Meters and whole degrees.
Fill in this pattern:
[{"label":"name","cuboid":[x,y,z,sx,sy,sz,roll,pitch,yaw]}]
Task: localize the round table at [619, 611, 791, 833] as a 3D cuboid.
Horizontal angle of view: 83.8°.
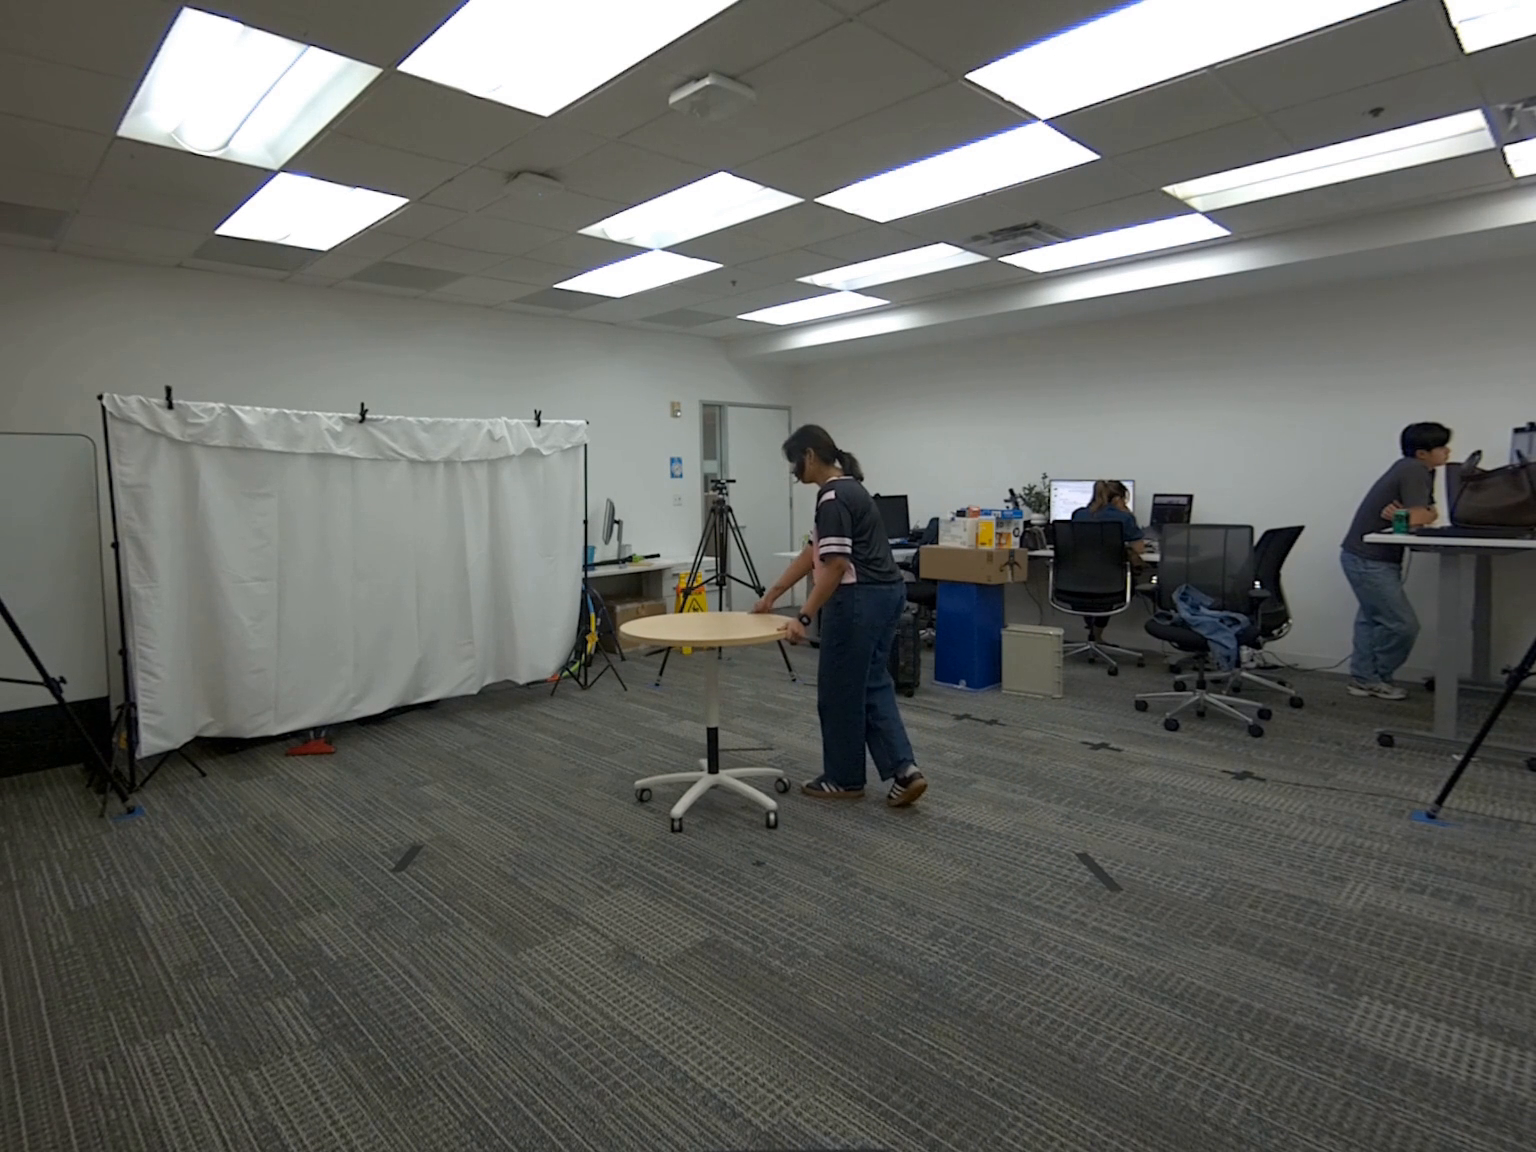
[{"label":"round table","cuboid":[-0.225,0.594,3.647,0.784,0.784,0.789,-1,4,-2]}]
